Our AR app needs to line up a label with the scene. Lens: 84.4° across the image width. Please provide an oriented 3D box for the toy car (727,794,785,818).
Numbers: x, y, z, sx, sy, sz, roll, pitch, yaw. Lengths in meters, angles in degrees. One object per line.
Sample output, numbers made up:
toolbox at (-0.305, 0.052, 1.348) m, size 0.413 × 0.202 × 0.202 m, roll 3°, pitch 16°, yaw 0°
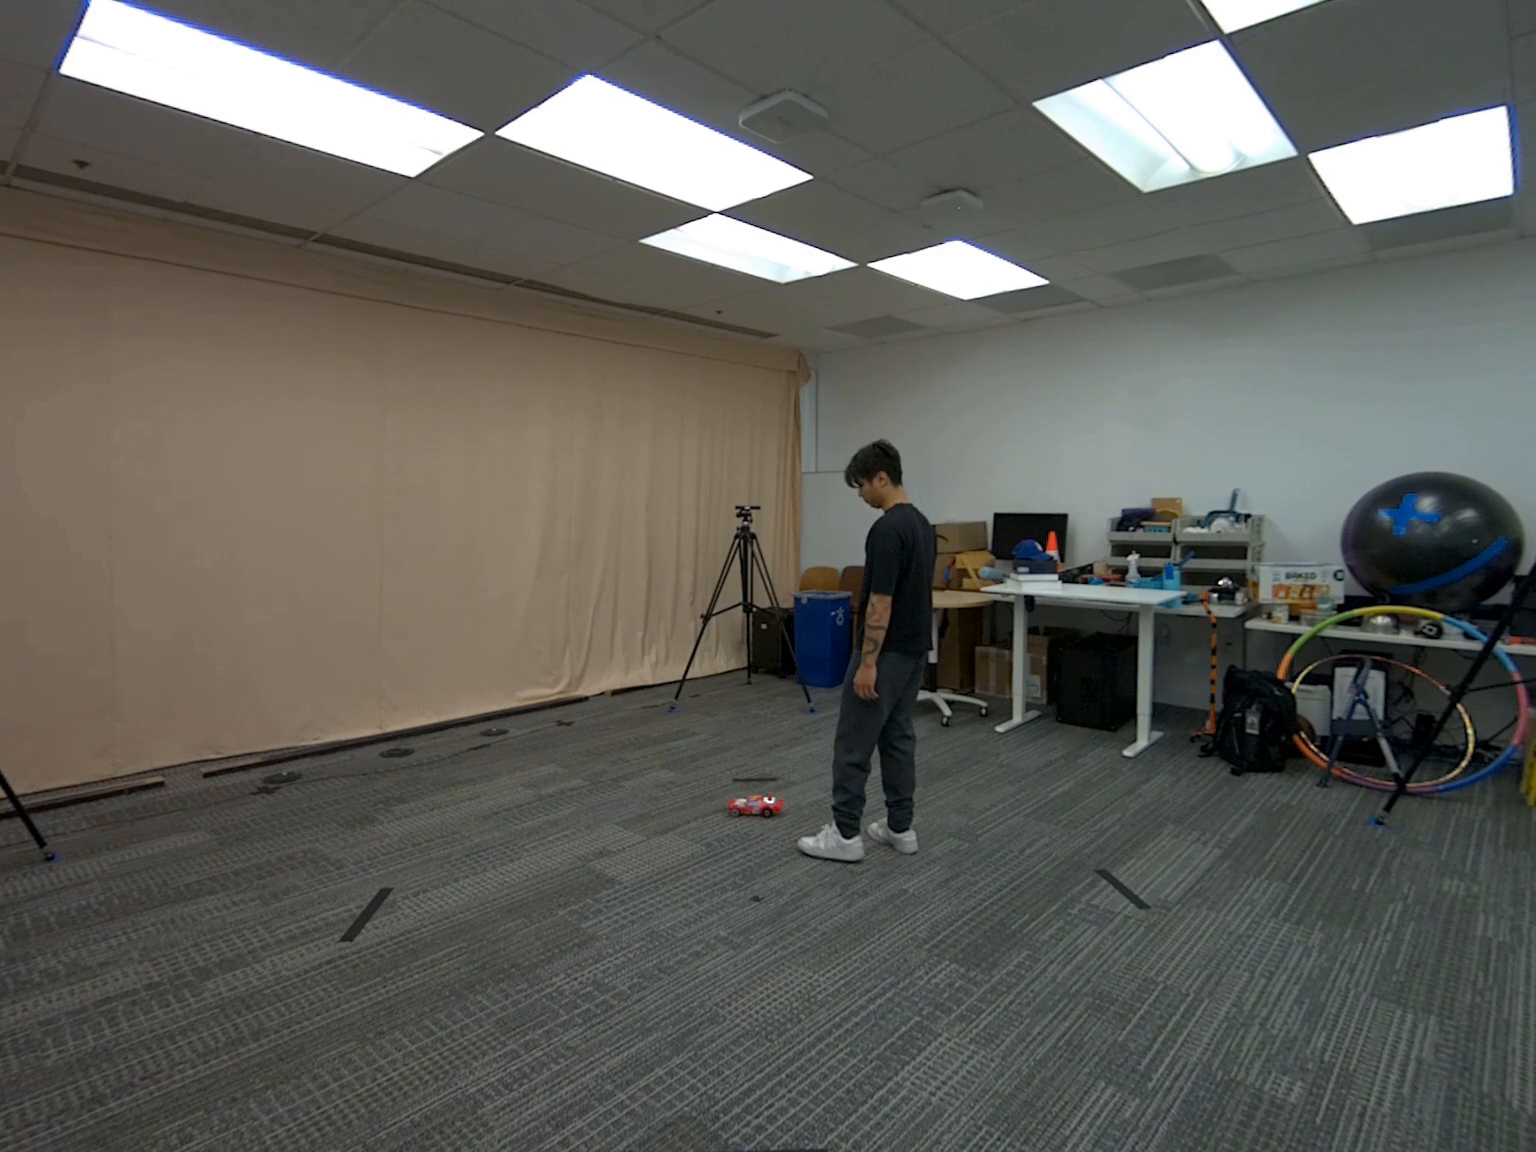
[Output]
toy car at (-0.051, 1.044, 3.819) m, size 0.256 × 0.083 × 0.130 m, roll -10°, pitch 4°, yaw 7°
